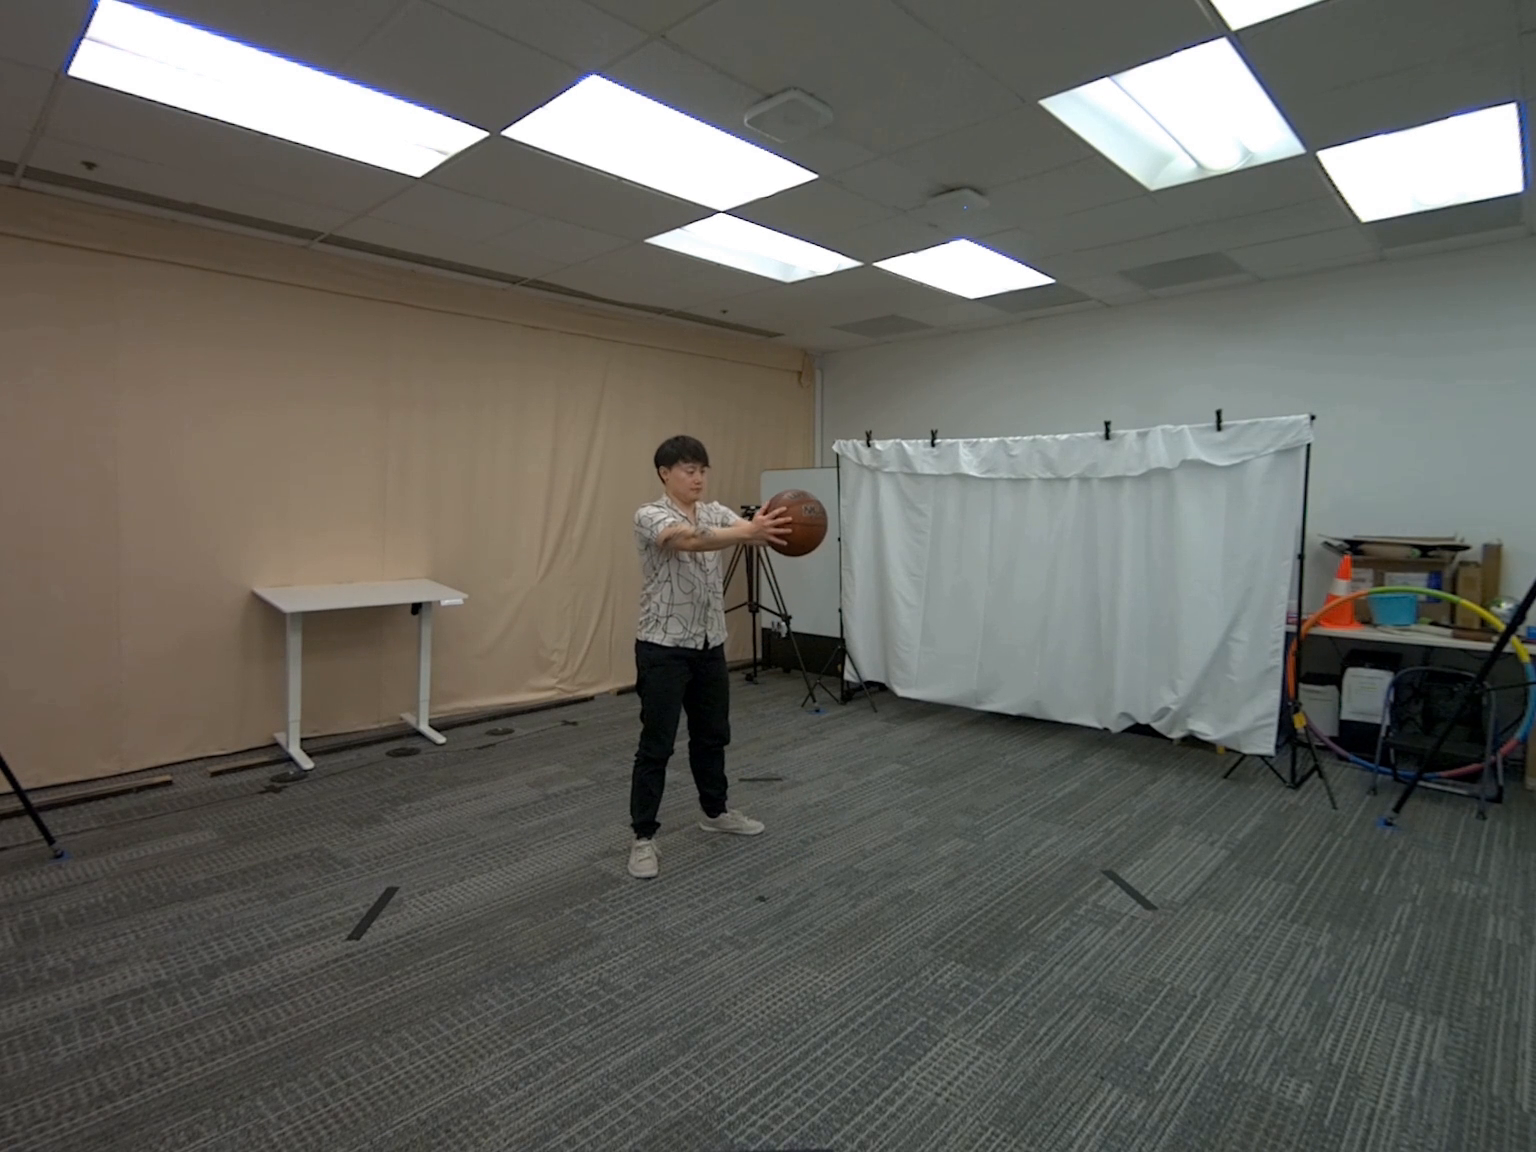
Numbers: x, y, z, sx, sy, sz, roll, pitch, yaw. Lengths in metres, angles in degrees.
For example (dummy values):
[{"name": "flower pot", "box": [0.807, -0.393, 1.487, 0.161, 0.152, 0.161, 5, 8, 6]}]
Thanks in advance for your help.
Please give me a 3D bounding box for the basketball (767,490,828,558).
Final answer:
[{"name": "basketball", "box": [0.094, -0.188, 2.981, 0.236, 0.235, 0.237, 0, 4, -2]}]
